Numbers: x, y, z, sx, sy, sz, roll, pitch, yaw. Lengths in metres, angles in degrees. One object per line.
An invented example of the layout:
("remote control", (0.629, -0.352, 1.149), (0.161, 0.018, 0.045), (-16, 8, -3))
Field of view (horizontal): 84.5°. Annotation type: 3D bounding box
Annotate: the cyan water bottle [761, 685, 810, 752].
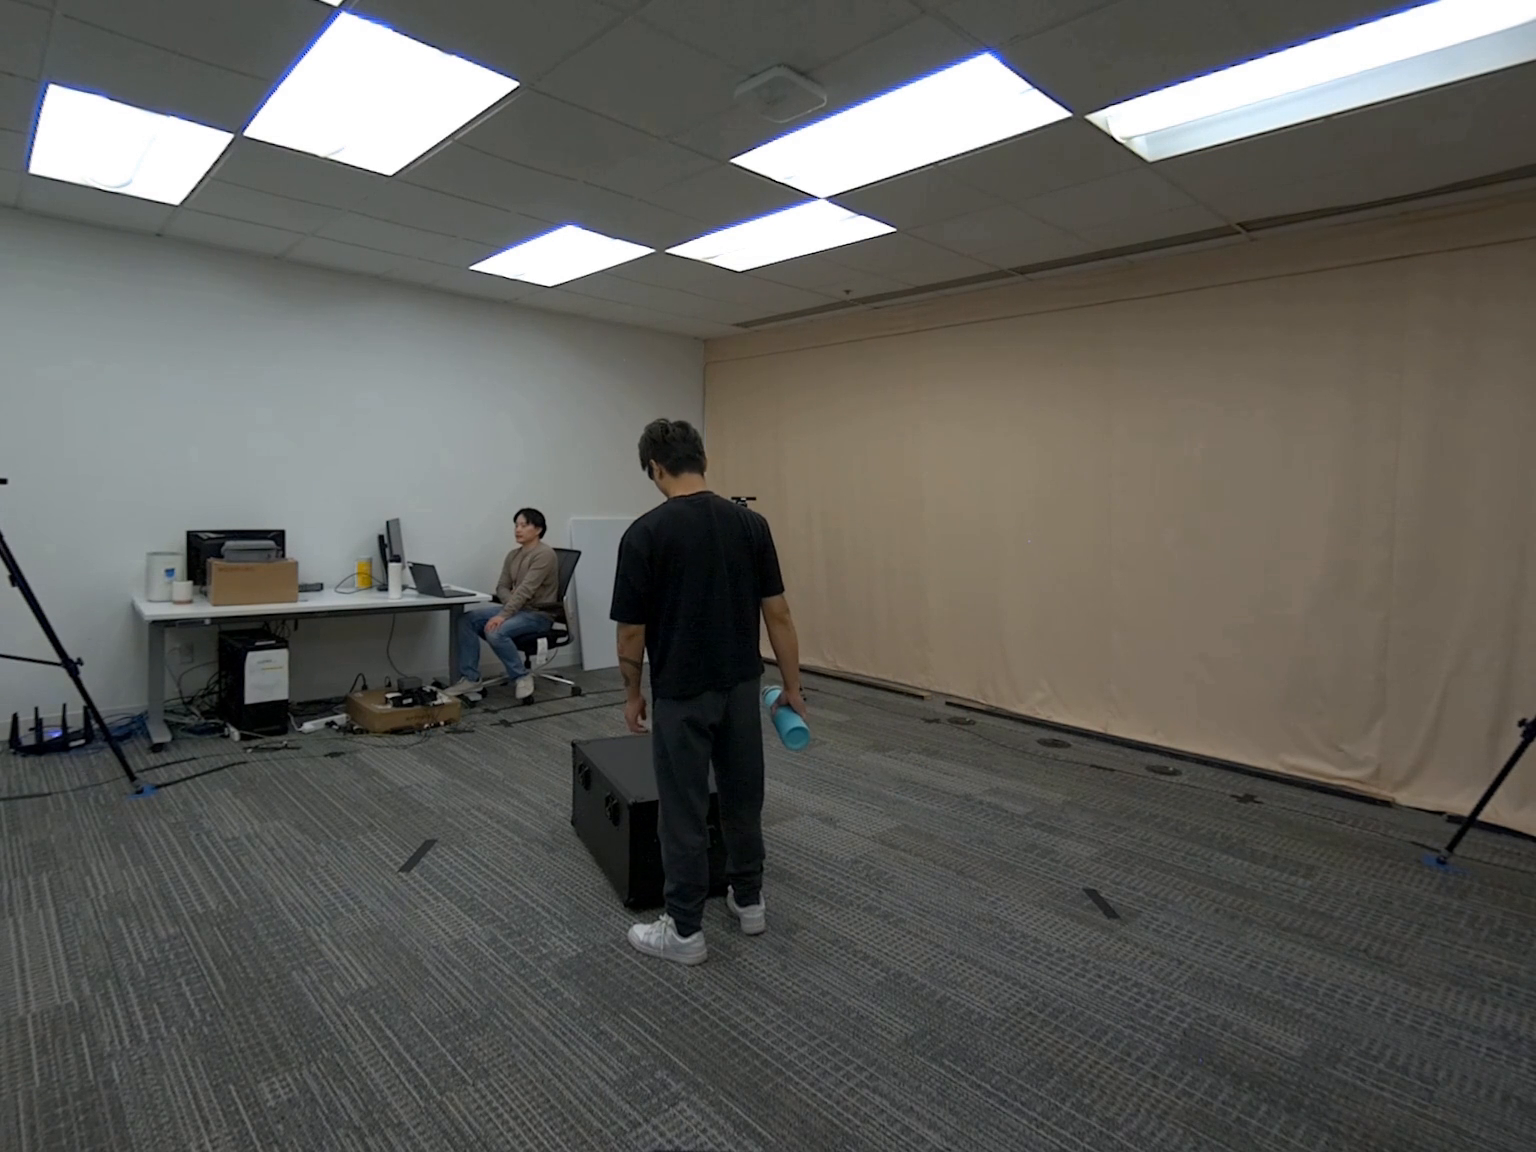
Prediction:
("cyan water bottle", (0.041, 0.445, 2.701), (0.091, 0.091, 0.290), (0, 22, -15))
